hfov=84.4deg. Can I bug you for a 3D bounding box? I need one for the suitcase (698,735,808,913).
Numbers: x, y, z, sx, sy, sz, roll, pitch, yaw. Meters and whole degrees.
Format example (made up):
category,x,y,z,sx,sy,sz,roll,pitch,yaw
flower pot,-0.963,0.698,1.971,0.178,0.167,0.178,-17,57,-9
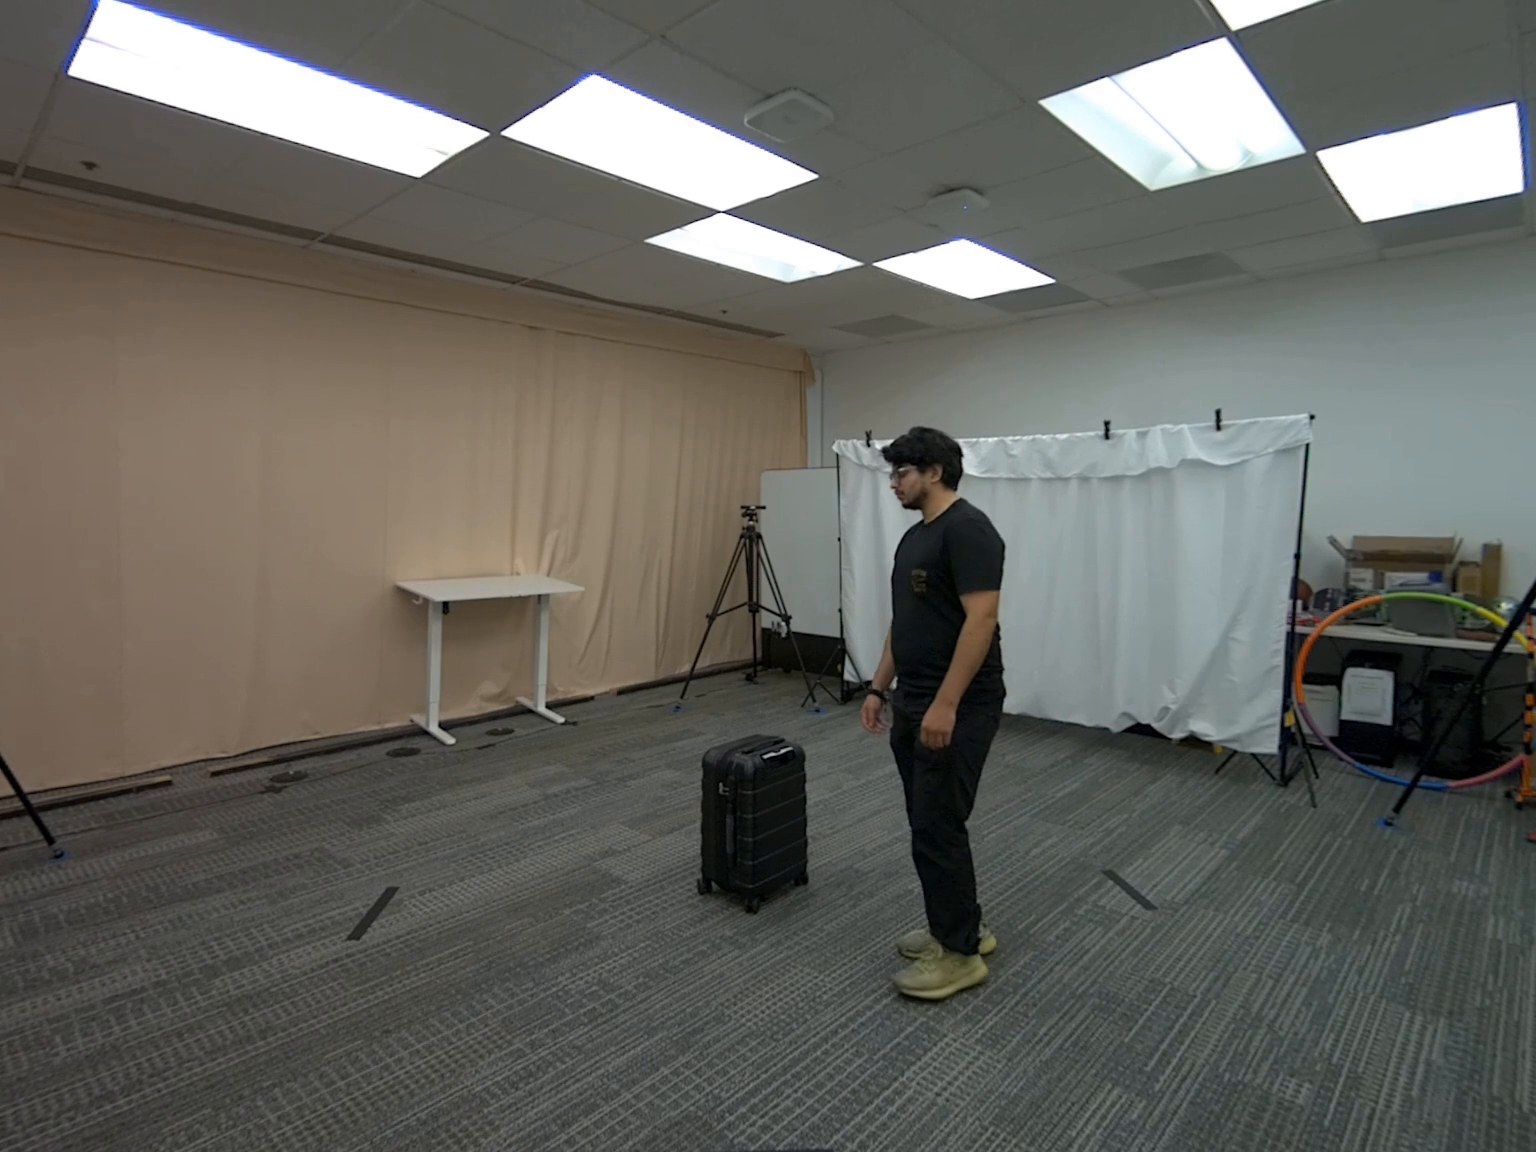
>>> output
category,x,y,z,sx,sy,sz,roll,pitch,yaw
suitcase,-0.048,0.864,3.030,0.256,0.548,0.364,3,6,41
